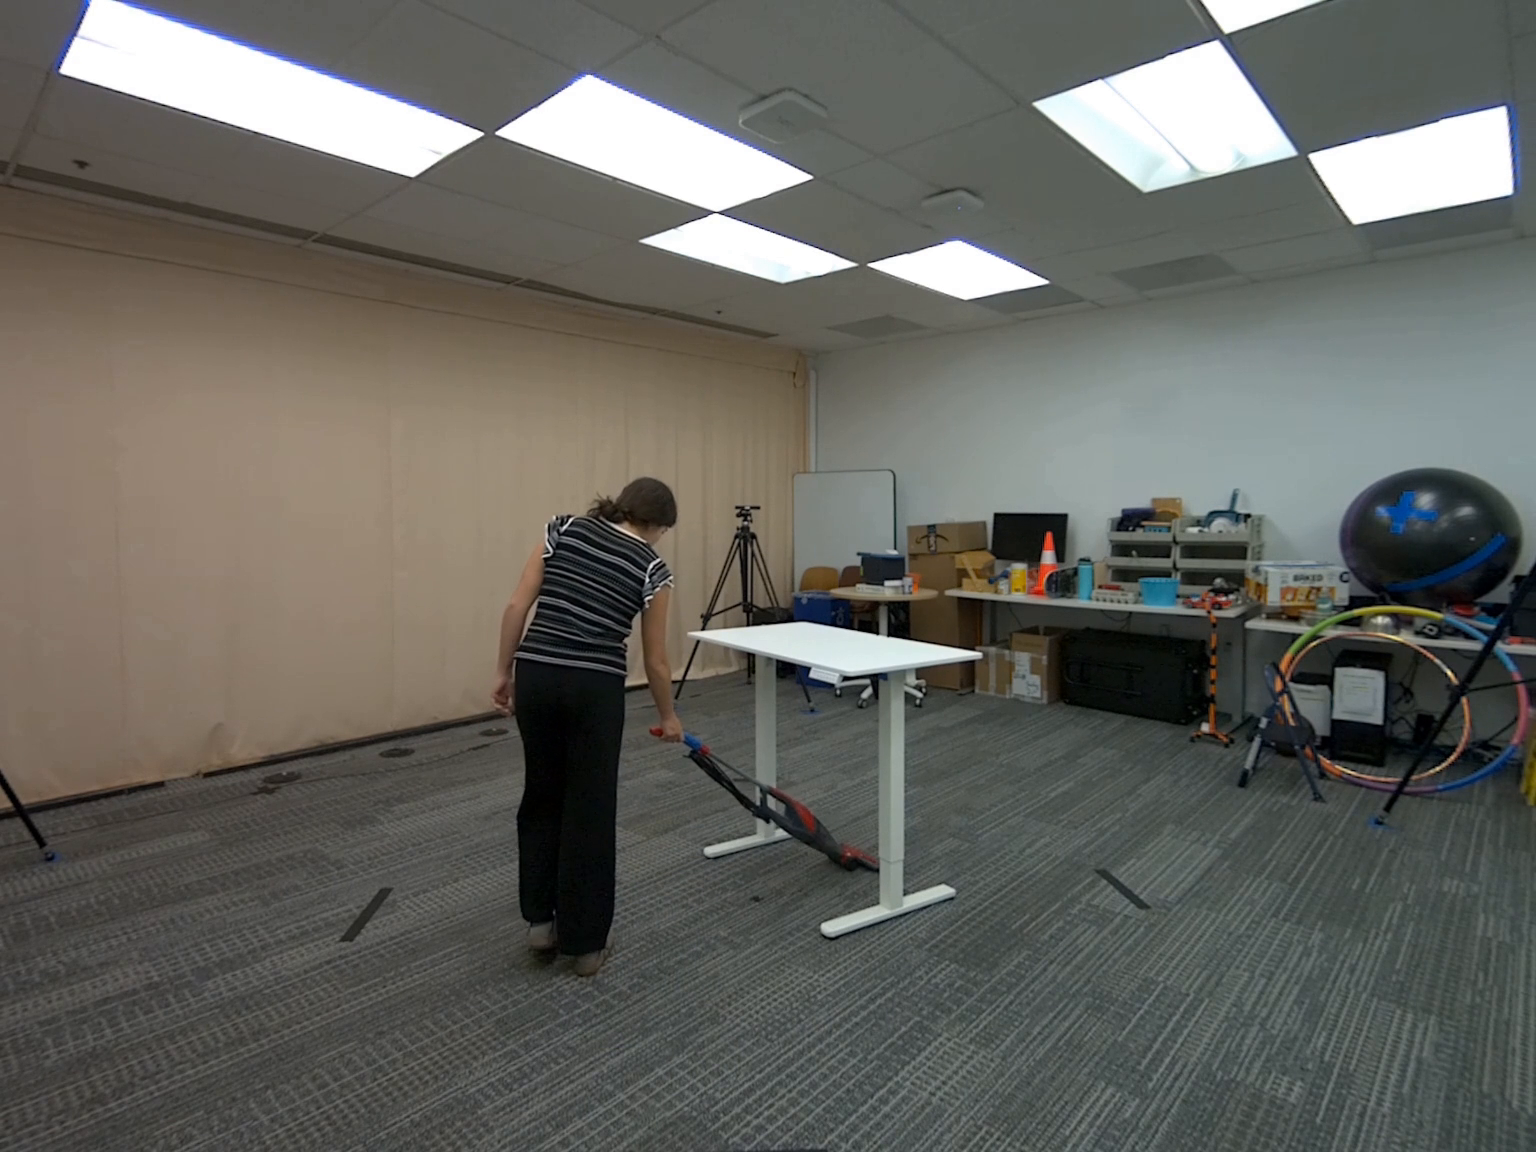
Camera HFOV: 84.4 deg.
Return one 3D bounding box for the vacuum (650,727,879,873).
[{"bbox_3d":[-0.027,0.816,3.061,1.019,0.144,0.260,38,-22,-27],"label":"vacuum"}]
